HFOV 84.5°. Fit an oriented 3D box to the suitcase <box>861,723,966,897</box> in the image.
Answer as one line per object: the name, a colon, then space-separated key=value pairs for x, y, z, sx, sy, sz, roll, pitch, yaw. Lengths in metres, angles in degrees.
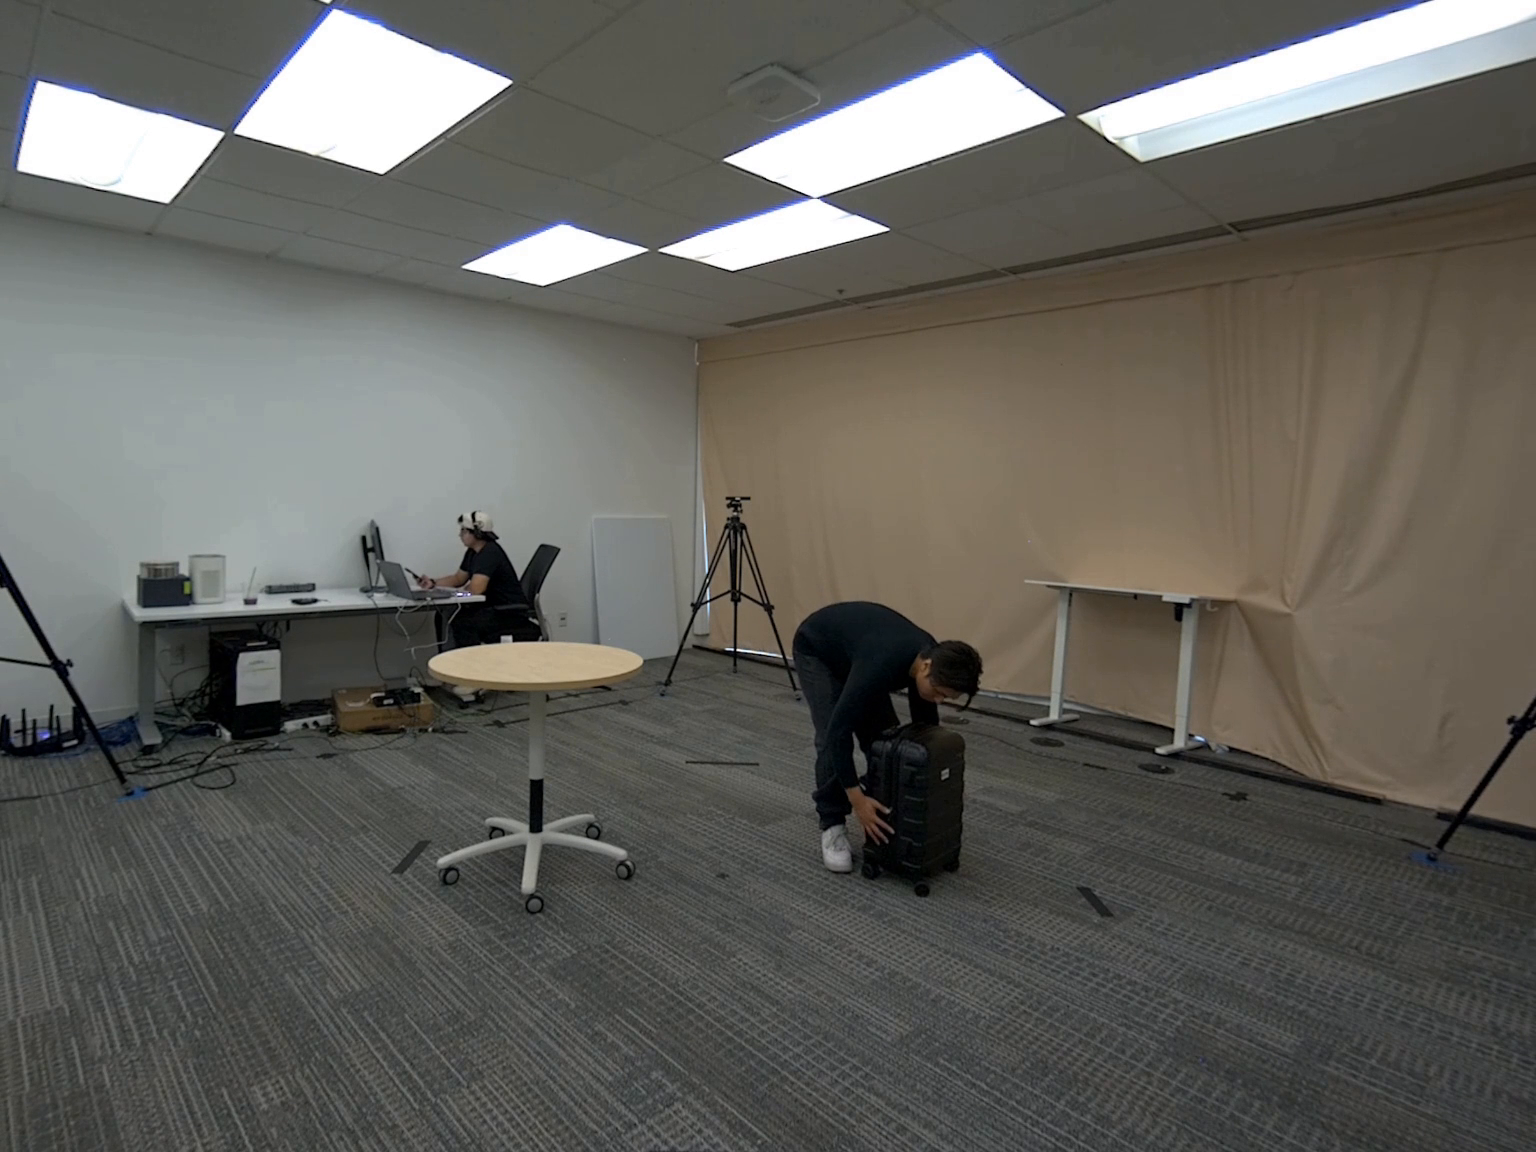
suitcase: x=0.543 y=0.842 z=3.162 sx=0.254 sy=0.548 sz=0.367 roll=5 pitch=4 yaw=41
